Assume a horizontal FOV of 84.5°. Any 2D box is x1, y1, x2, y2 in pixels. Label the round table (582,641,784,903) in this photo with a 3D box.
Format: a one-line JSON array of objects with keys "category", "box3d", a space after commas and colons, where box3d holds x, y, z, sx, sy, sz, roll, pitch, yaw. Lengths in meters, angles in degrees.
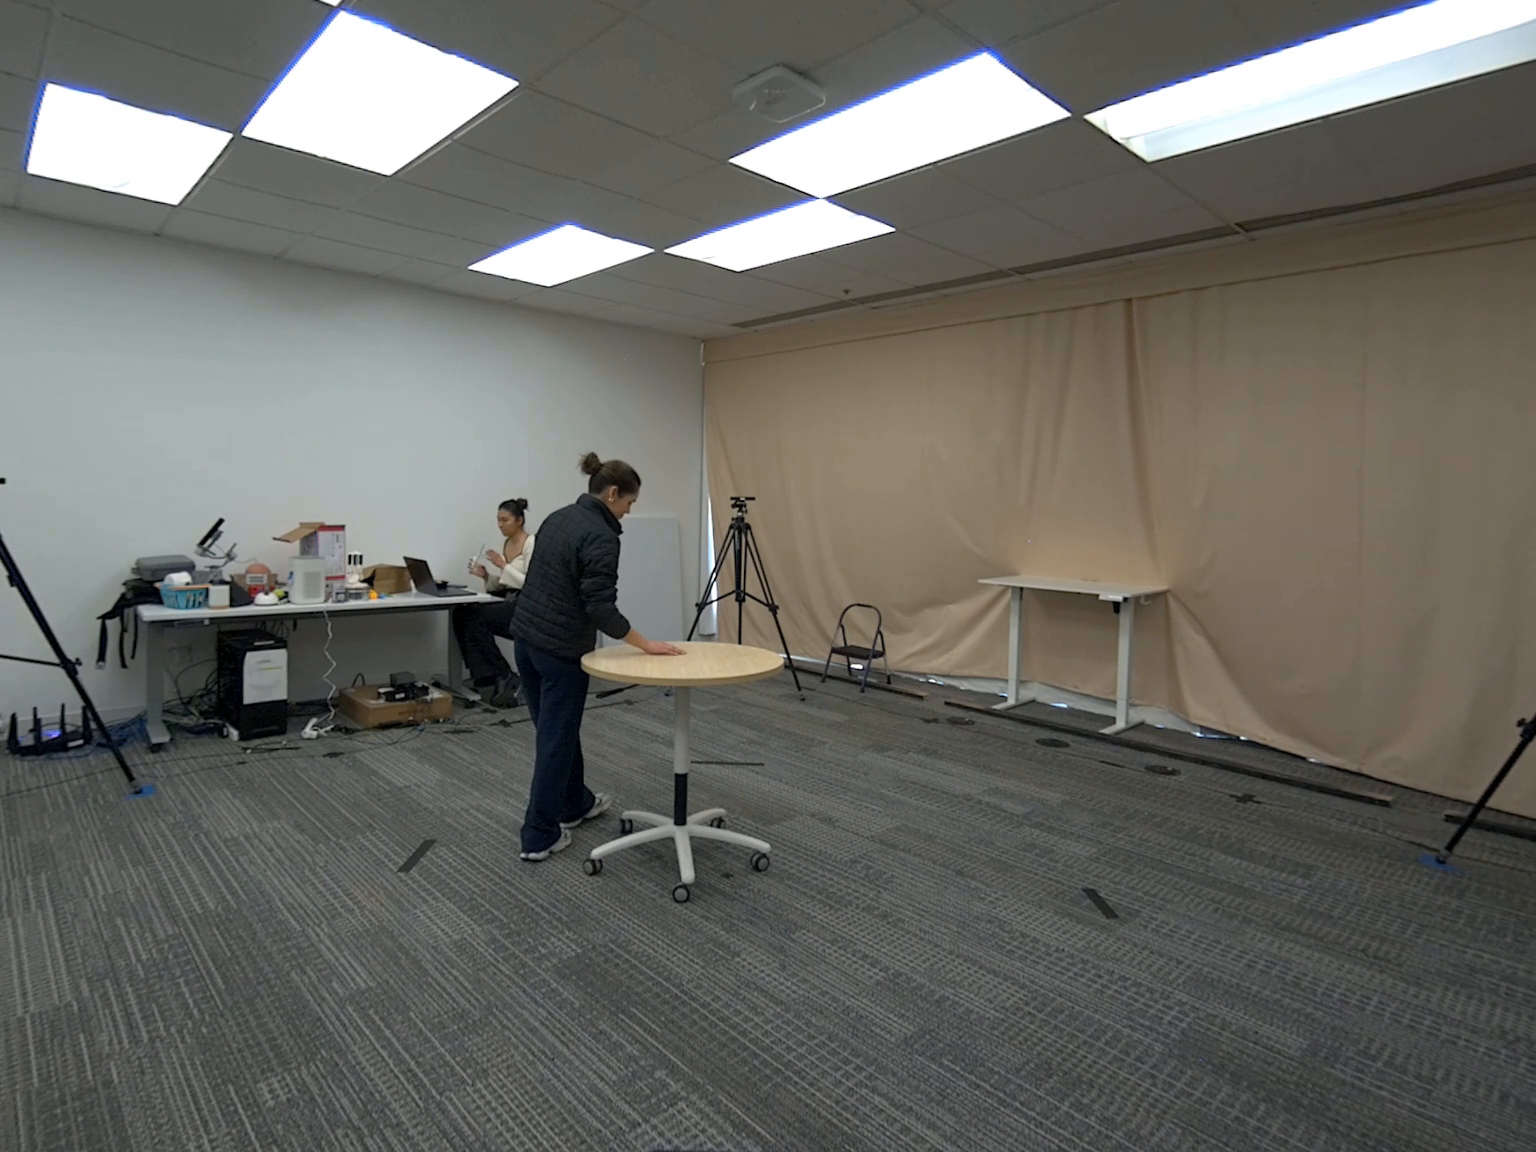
[{"category": "round table", "box3d": [-0.322, 0.700, 3.207, 0.784, 0.785, 0.787, 1, 4, -1]}]
